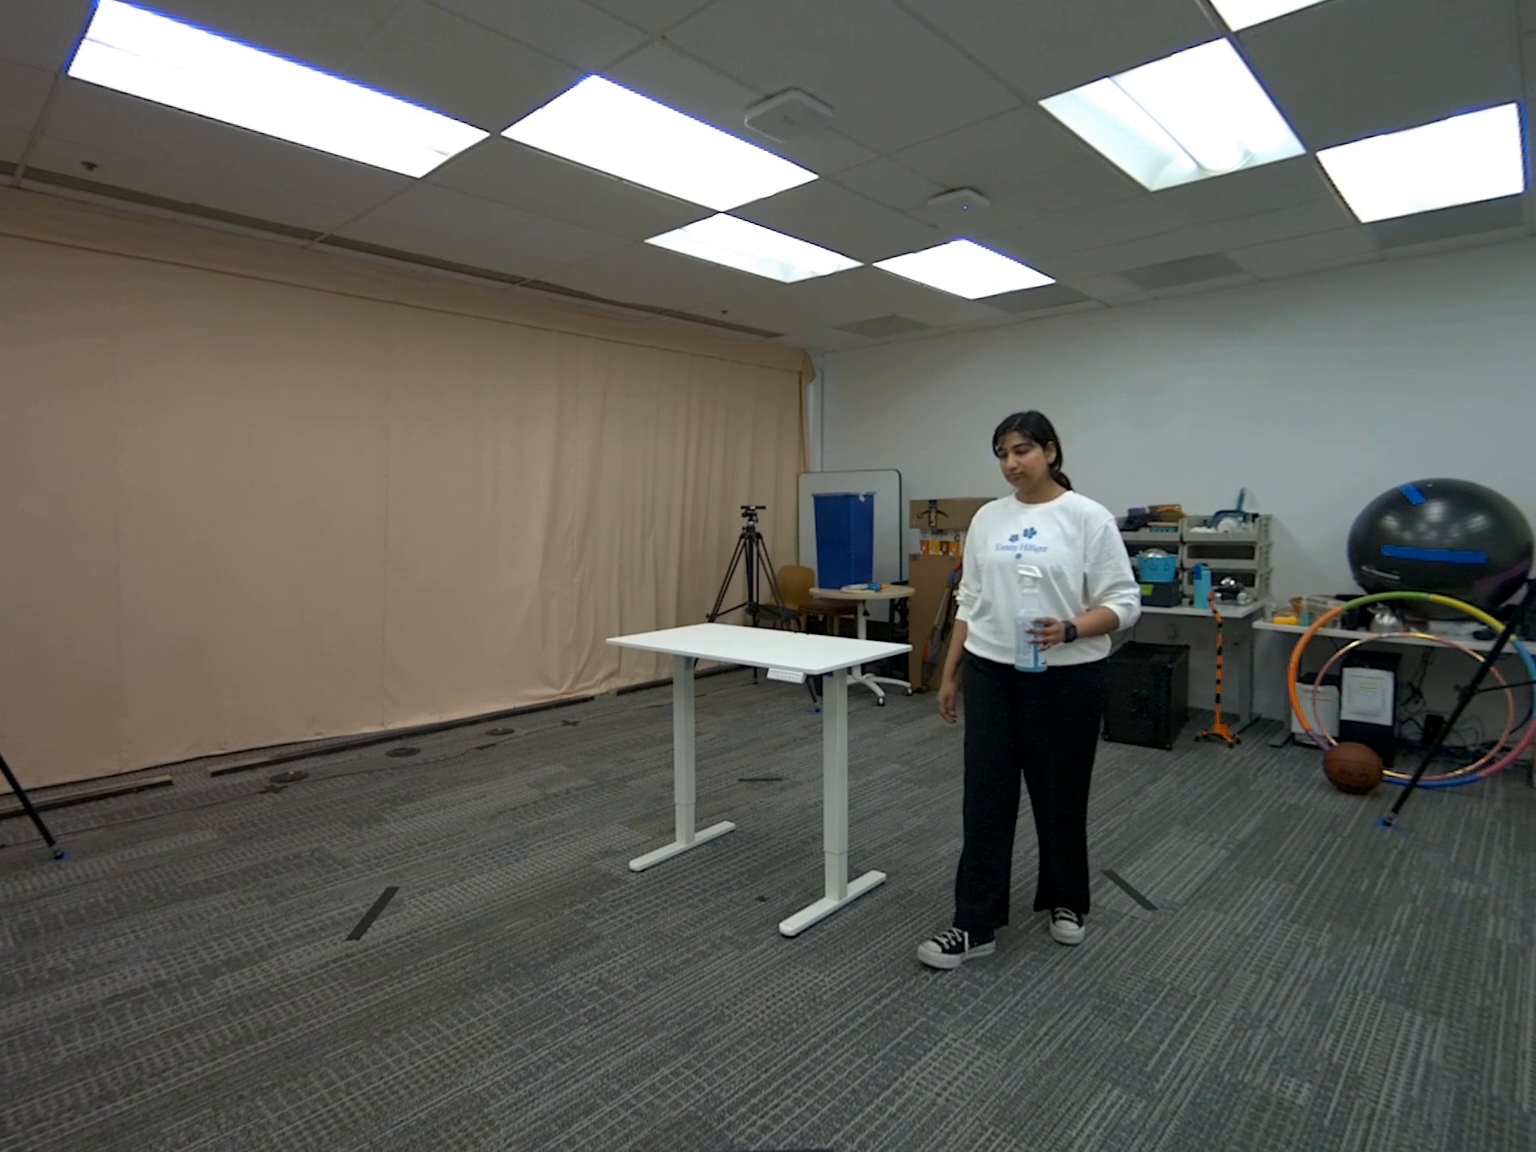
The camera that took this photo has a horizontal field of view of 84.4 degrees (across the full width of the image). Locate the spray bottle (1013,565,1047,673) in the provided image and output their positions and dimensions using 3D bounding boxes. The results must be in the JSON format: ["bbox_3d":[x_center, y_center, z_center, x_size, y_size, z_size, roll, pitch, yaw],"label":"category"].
[{"bbox_3d":[0.750,0.119,2.394,0.087,0.297,0.090,-2,1,-2],"label":"spray bottle"}]
